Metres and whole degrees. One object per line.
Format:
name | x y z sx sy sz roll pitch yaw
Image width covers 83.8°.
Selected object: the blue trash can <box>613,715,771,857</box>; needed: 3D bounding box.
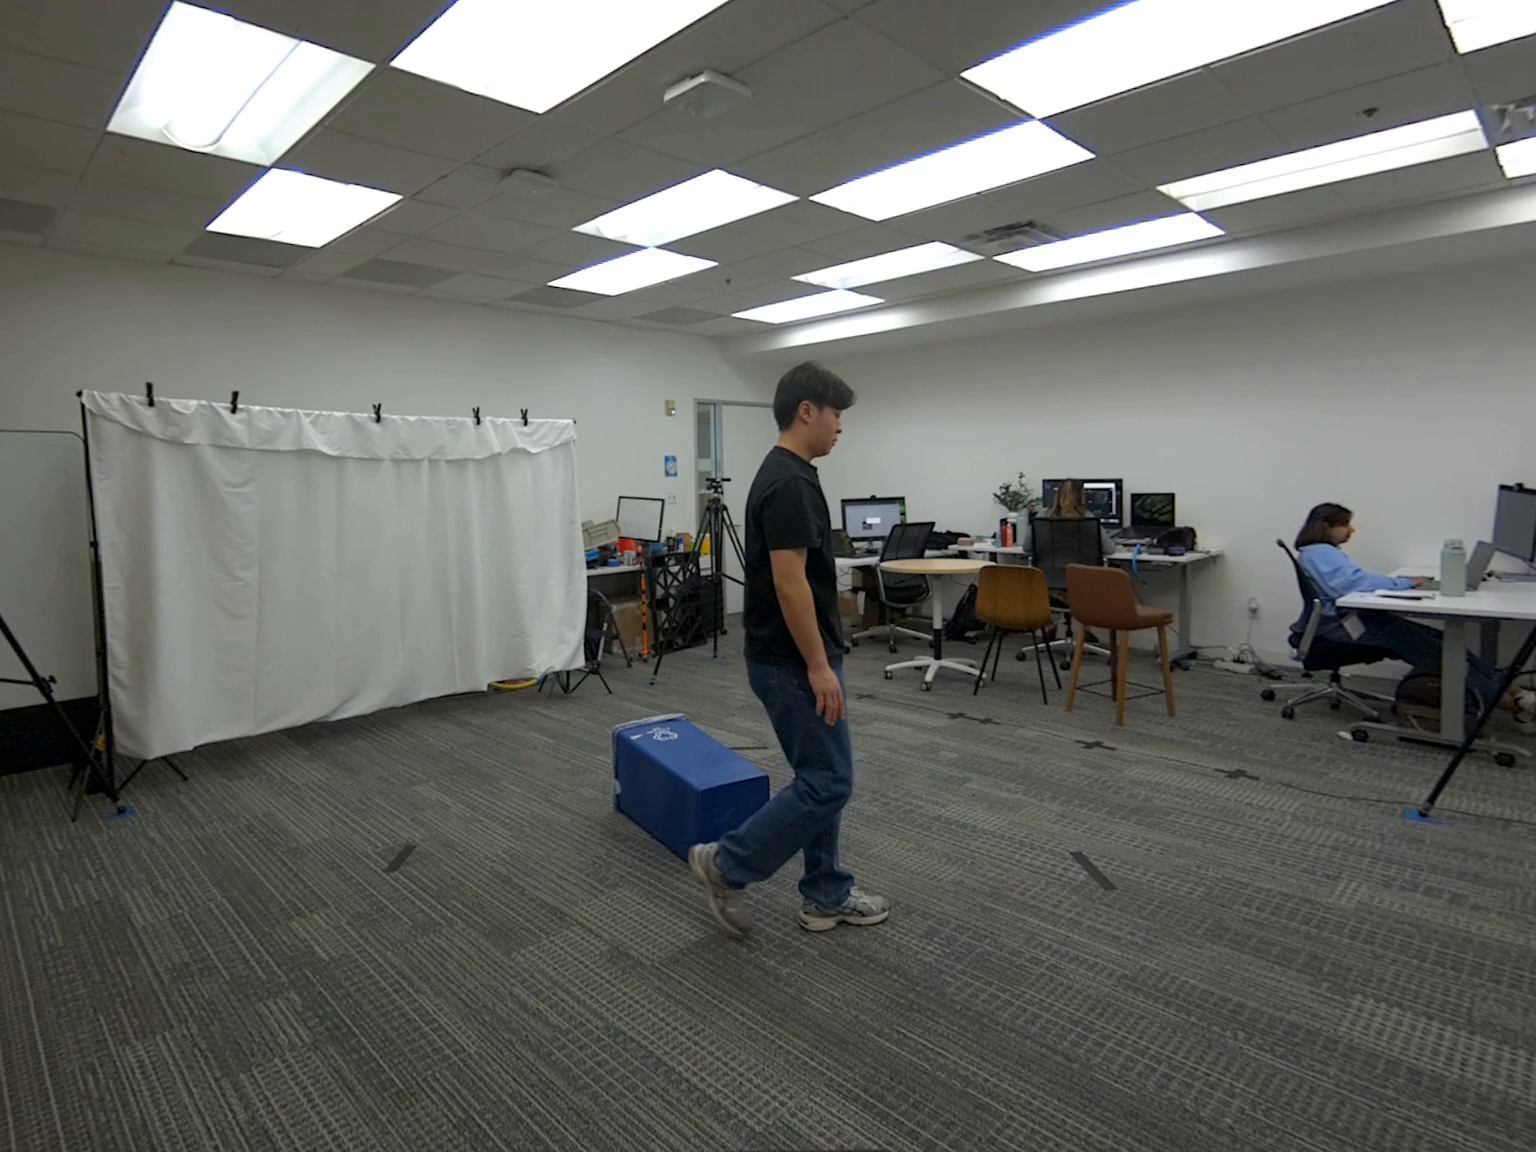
blue trash can | -0.308 0.848 3.396 0.365 0.375 0.736 -4 10 -32
